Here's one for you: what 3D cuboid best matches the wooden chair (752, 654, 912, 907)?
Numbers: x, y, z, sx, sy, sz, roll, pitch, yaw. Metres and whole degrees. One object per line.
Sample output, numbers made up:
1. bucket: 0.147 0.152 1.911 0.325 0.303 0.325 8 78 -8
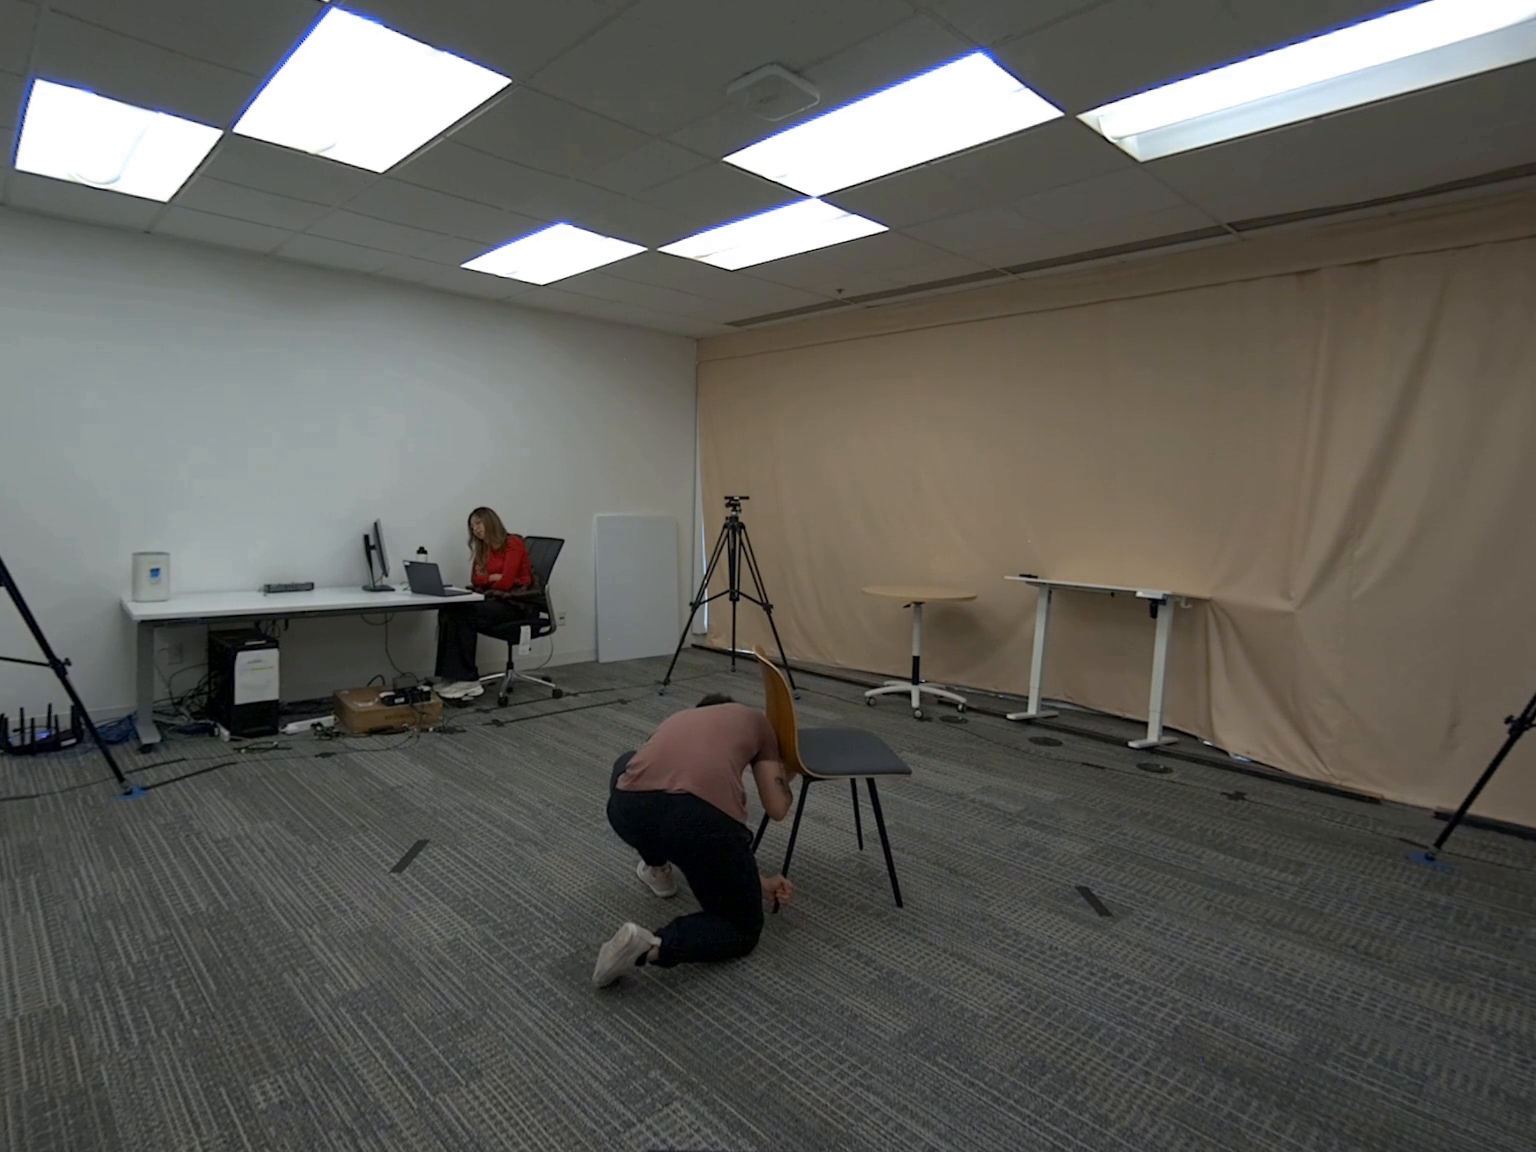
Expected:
1. wooden chair: 0.219 0.680 3.027 0.519 0.874 0.484 -3 5 -10
